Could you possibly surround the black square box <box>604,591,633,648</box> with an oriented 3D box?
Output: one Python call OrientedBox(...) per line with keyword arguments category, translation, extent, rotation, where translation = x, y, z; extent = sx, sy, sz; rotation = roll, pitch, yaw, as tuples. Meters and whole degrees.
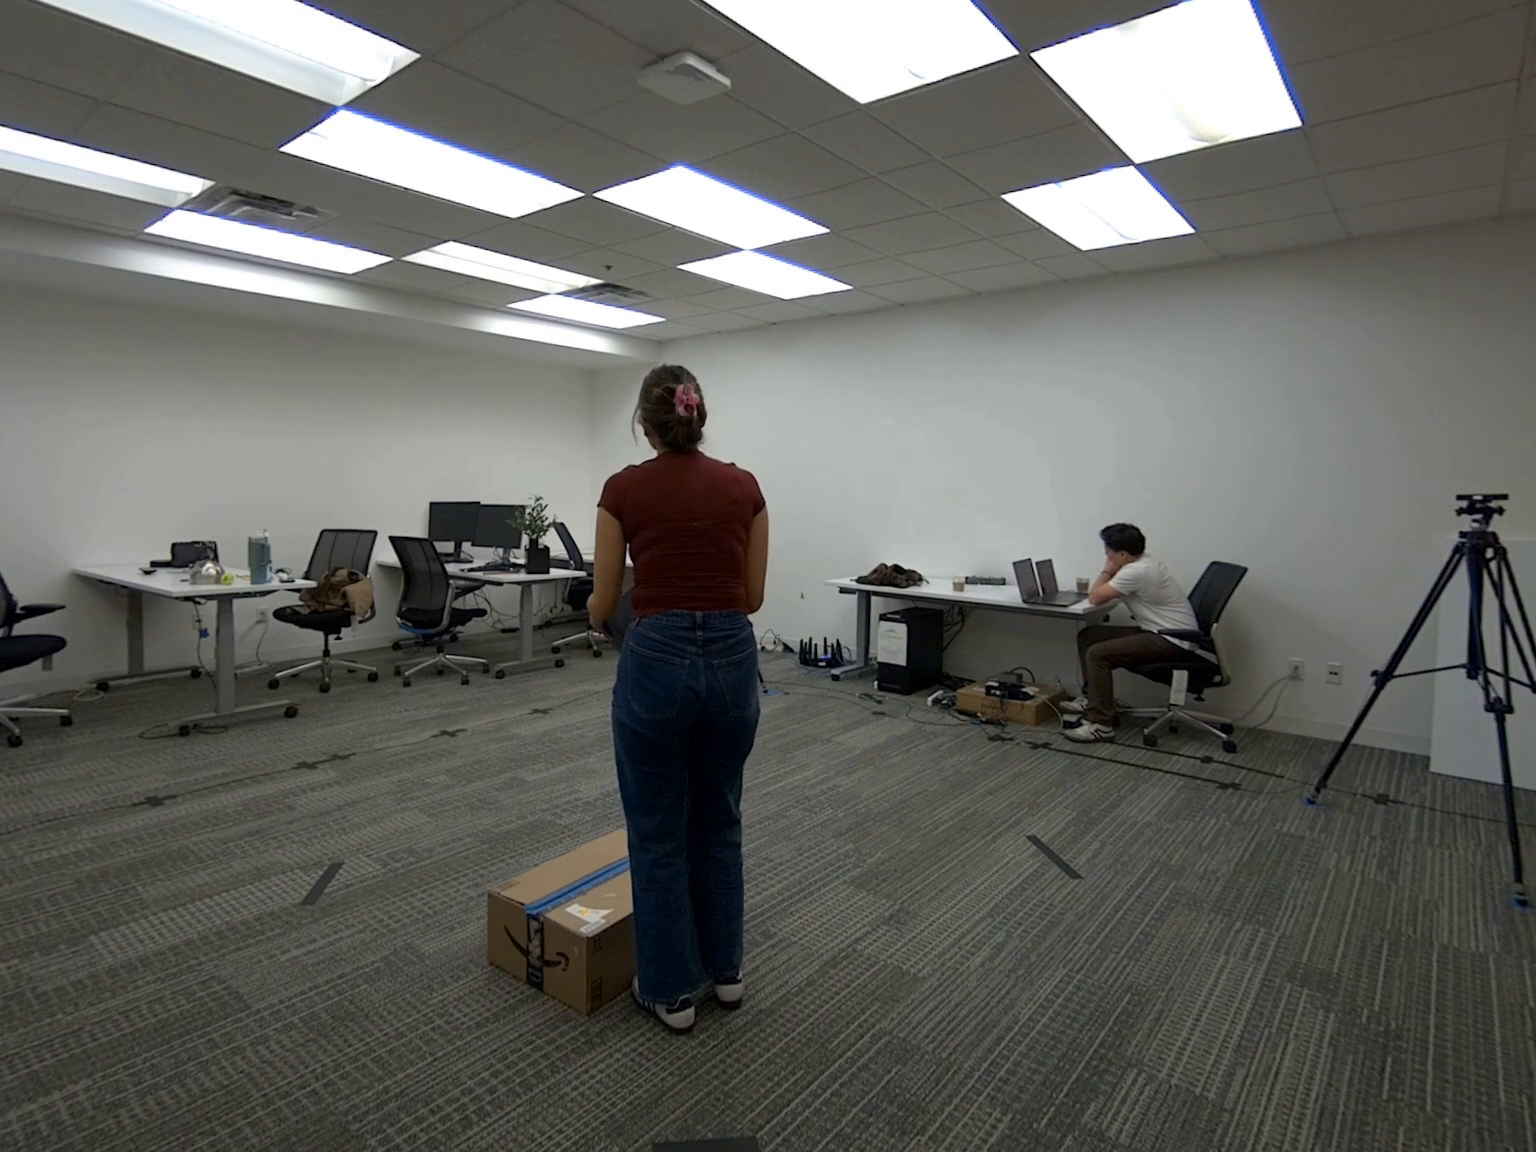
OrientedBox(category="black square box", translation=(-0.355, 0.145, 2.545), extent=(0.227, 0.219, 0.155), rotation=(-44, -7, -24))
